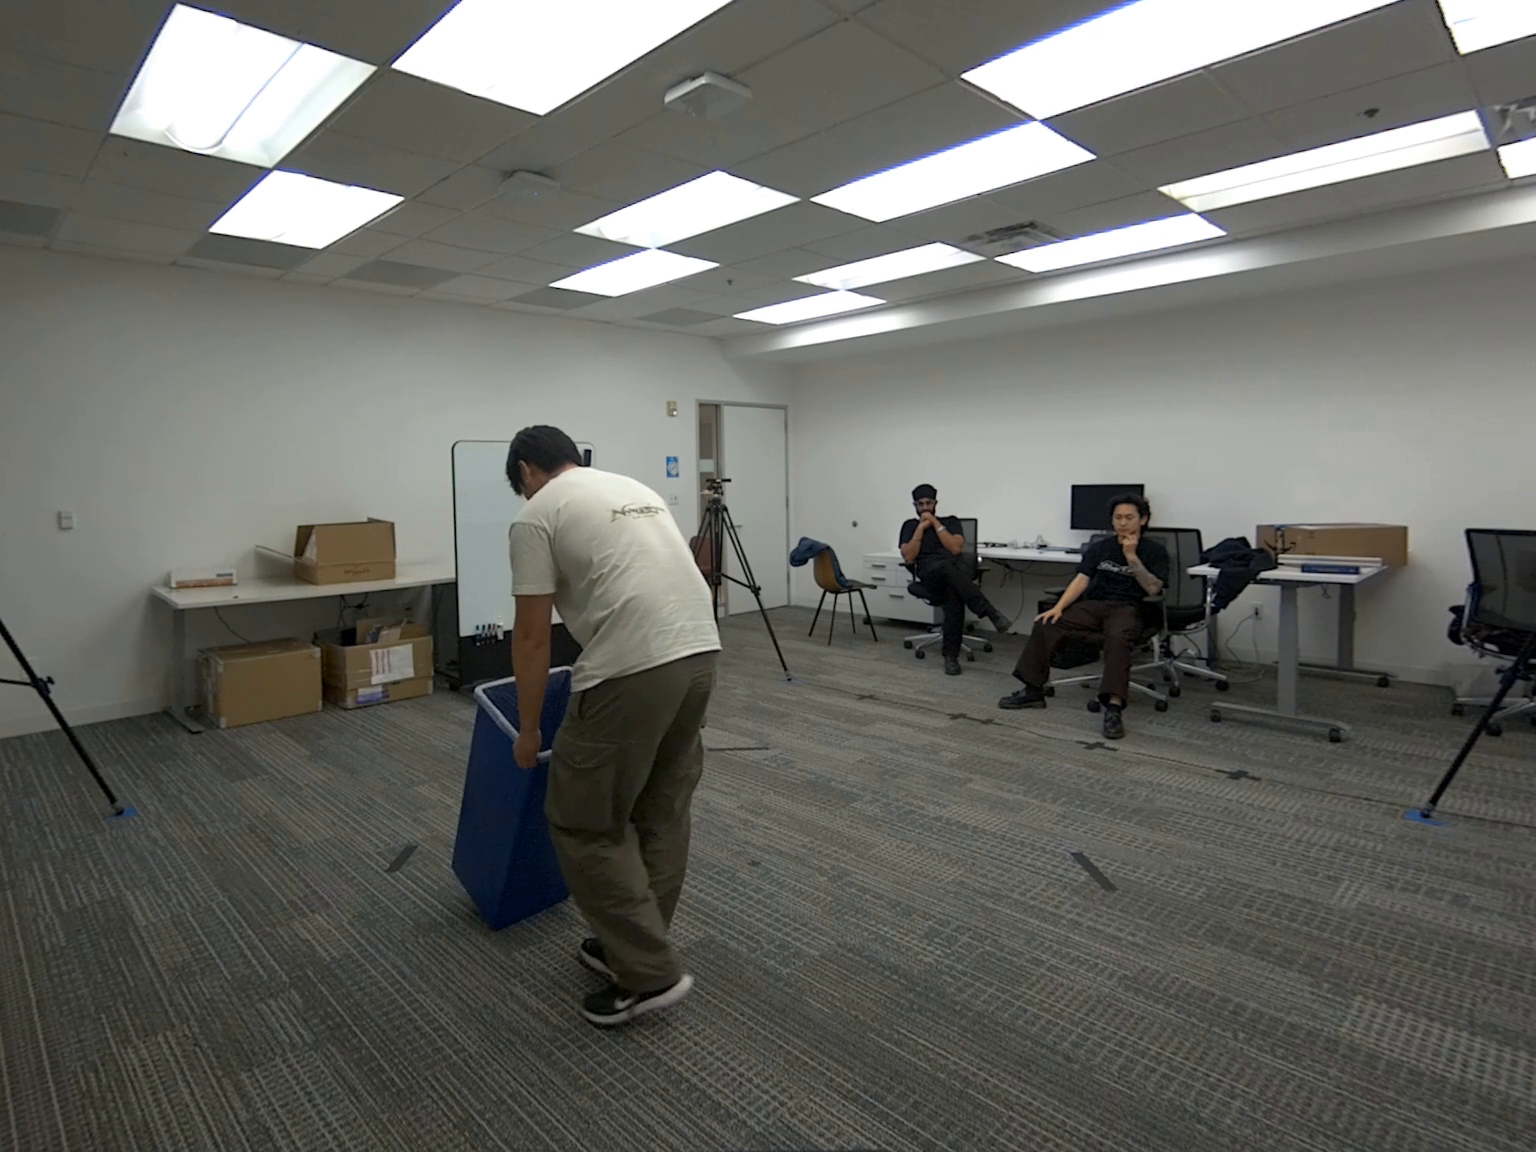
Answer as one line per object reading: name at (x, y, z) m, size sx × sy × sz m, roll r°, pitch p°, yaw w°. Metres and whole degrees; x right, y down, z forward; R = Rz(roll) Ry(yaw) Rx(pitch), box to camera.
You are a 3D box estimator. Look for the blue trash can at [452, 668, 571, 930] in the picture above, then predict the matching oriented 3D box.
blue trash can at (-0.754, 0.710, 2.727) m, size 0.388 × 0.705 × 0.368 m, roll 34°, pitch 26°, yaw 35°
